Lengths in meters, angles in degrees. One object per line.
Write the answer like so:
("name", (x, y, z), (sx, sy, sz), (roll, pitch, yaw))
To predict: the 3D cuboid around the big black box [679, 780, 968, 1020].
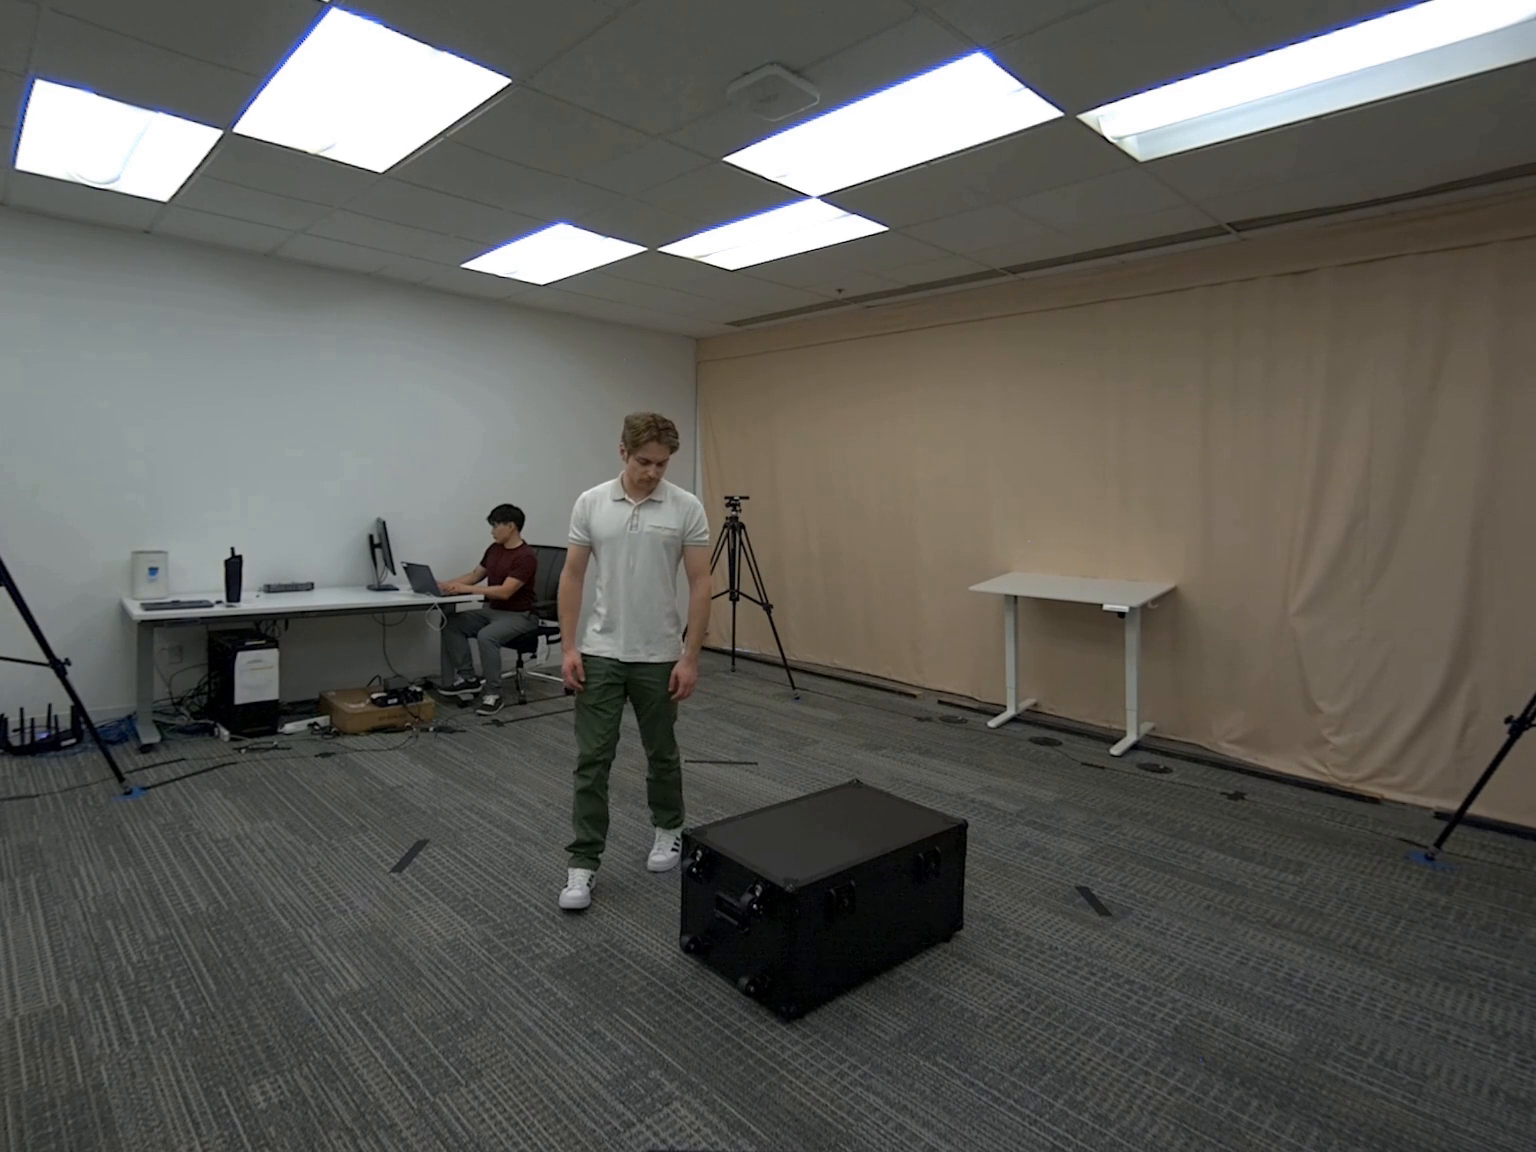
("big black box", (0.154, 0.969, 2.608), (0.841, 0.395, 0.534), (-2, 5, -41))
